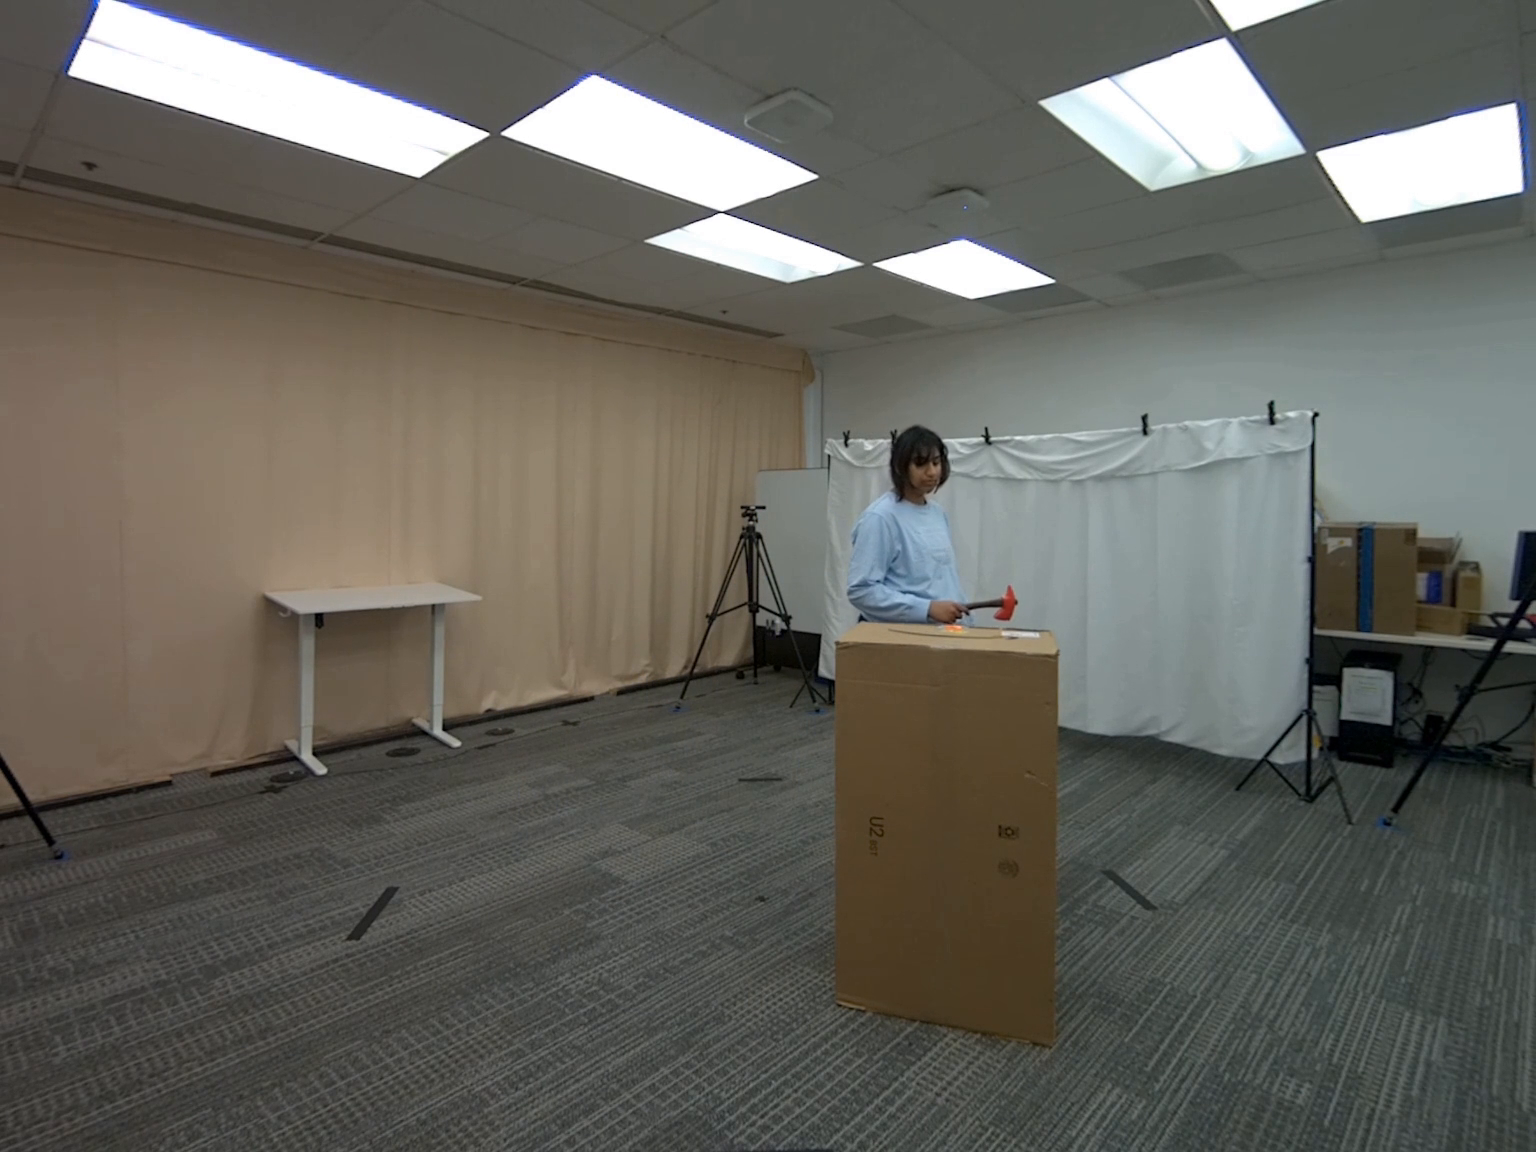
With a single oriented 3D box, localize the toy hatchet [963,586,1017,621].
[{"bbox_3d":[0.726,0.128,2.952,0.272,0.128,0.030,-19,20,10],"label":"toy hatchet"}]
